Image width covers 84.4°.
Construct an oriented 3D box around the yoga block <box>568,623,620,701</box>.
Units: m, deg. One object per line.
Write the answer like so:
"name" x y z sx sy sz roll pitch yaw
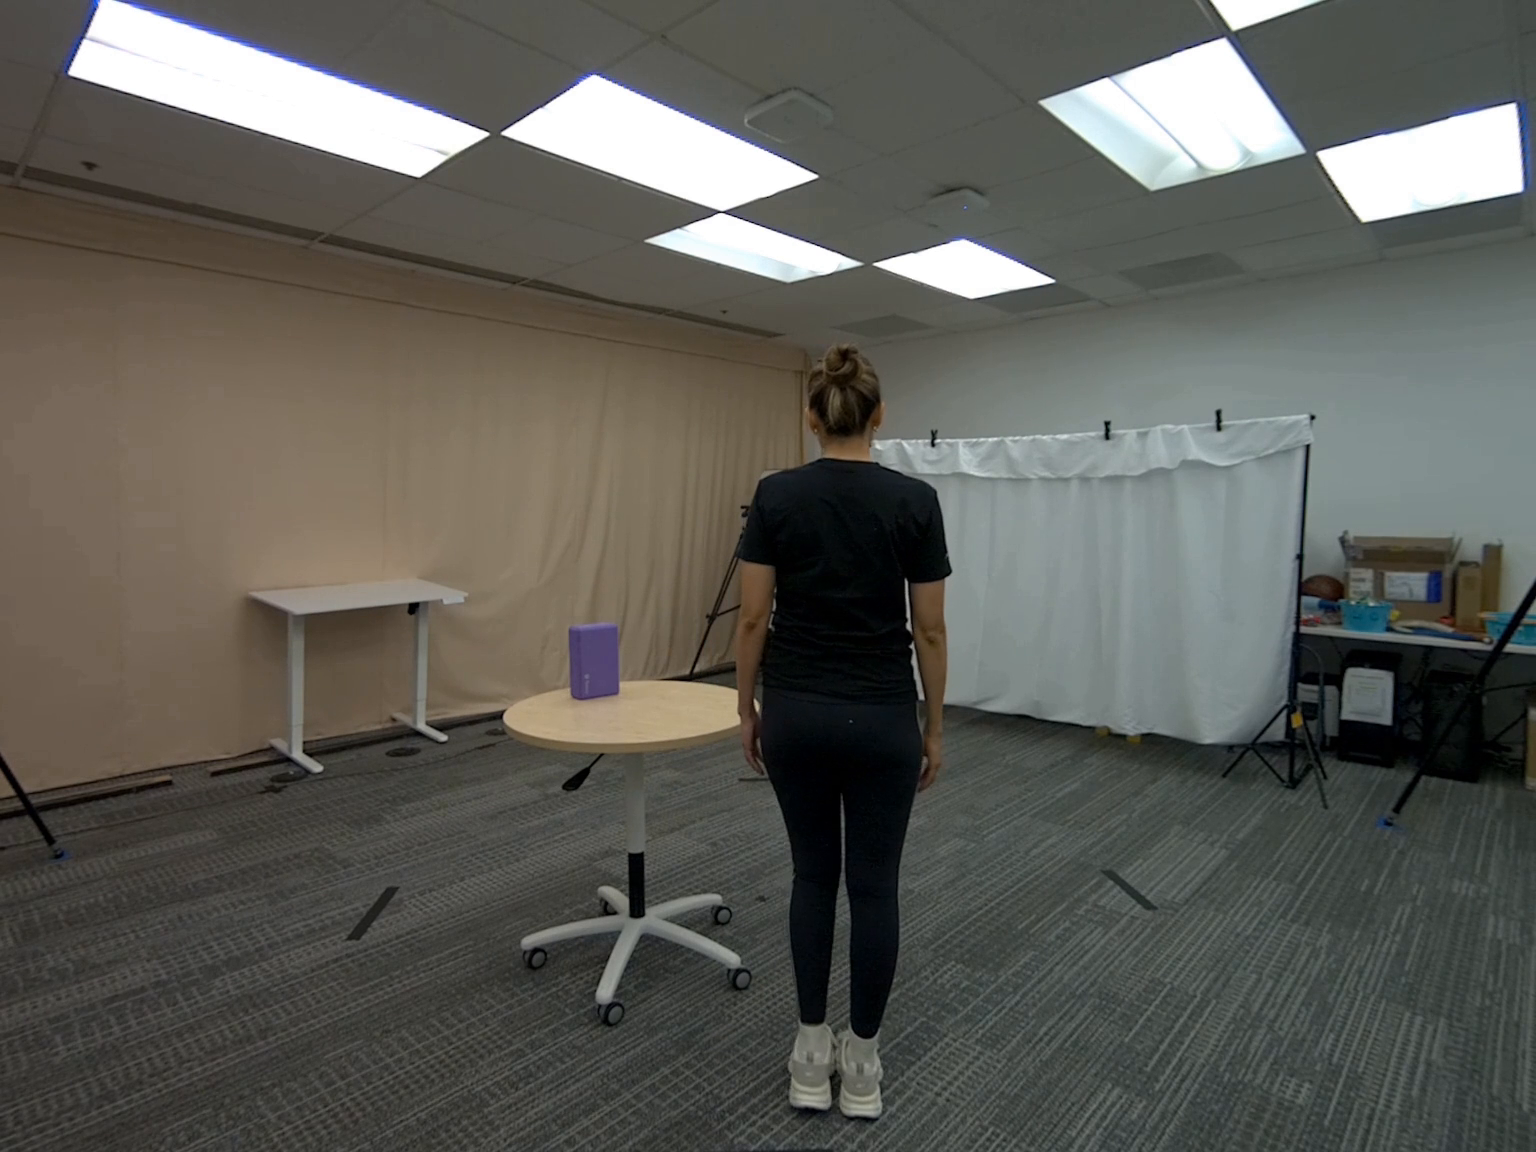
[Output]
"yoga block" -0.561 0.273 2.709 0.144 0.229 0.079 -3 4 -36
